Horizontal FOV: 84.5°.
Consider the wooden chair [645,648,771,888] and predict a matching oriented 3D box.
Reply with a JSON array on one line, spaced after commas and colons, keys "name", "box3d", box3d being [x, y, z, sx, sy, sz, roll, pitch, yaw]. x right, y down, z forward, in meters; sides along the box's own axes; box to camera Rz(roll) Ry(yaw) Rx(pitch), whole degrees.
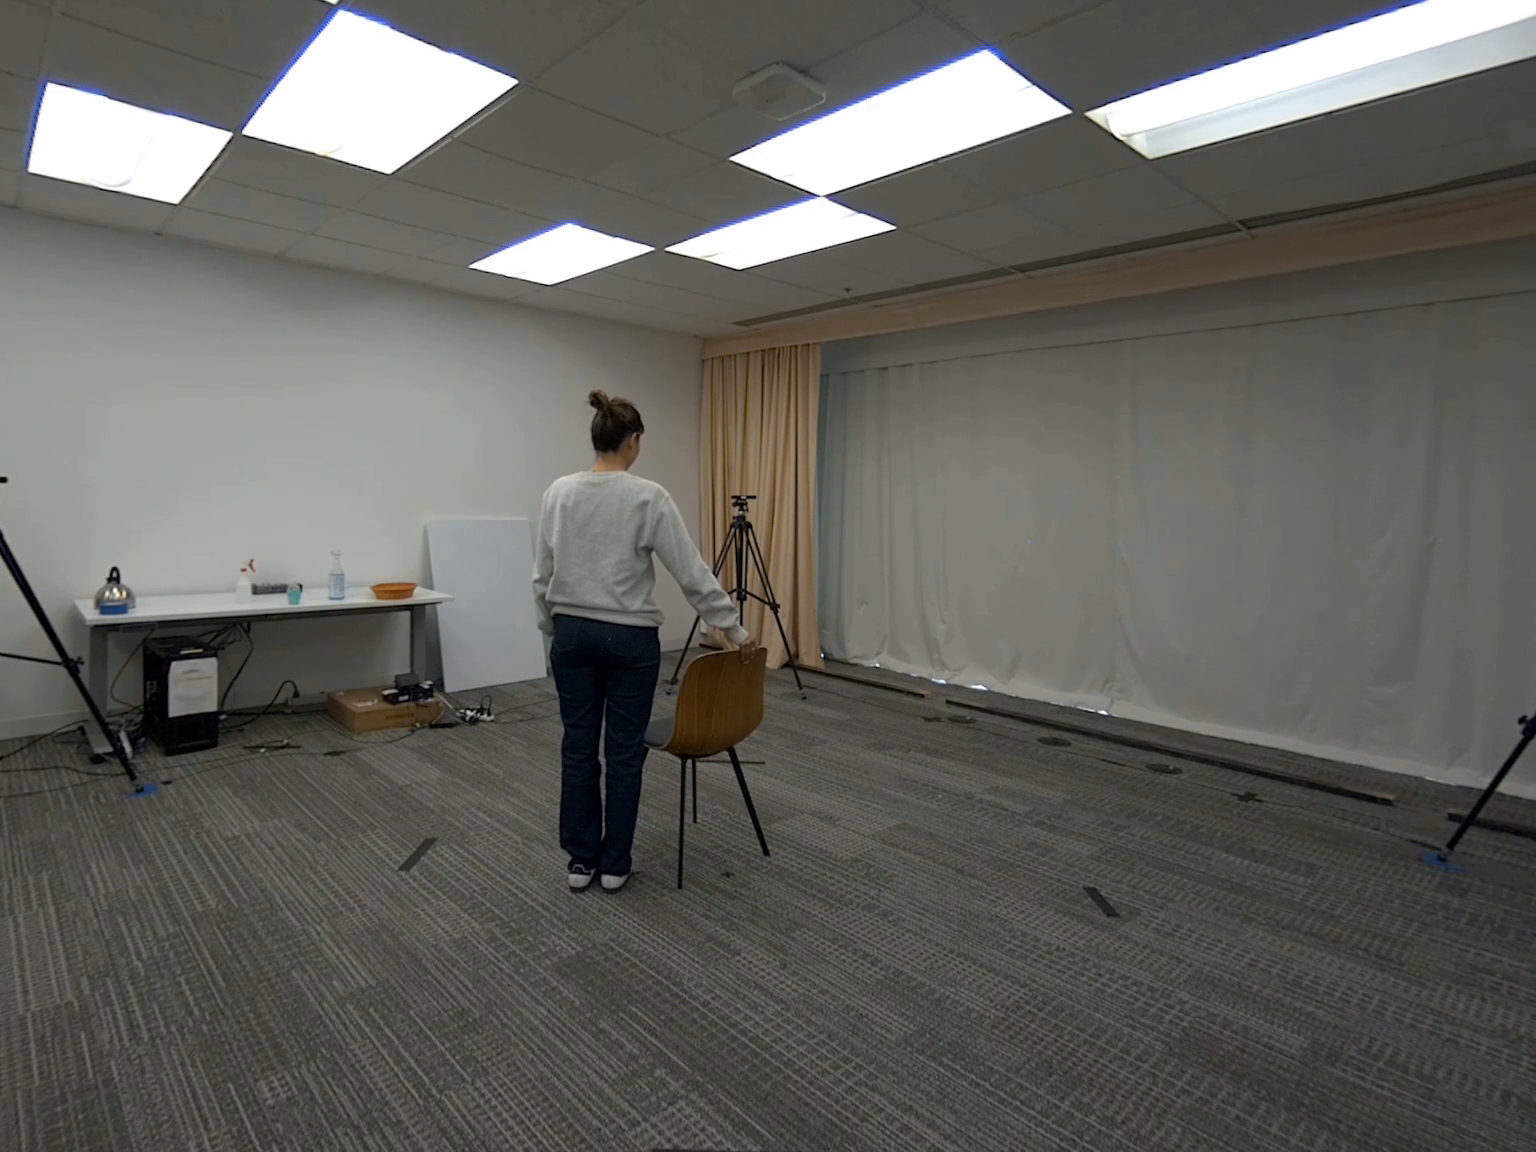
[{"name": "wooden chair", "box3d": [-0.308, 0.657, 3.268, 0.467, 0.873, 0.537, -2, 9, -43]}]
